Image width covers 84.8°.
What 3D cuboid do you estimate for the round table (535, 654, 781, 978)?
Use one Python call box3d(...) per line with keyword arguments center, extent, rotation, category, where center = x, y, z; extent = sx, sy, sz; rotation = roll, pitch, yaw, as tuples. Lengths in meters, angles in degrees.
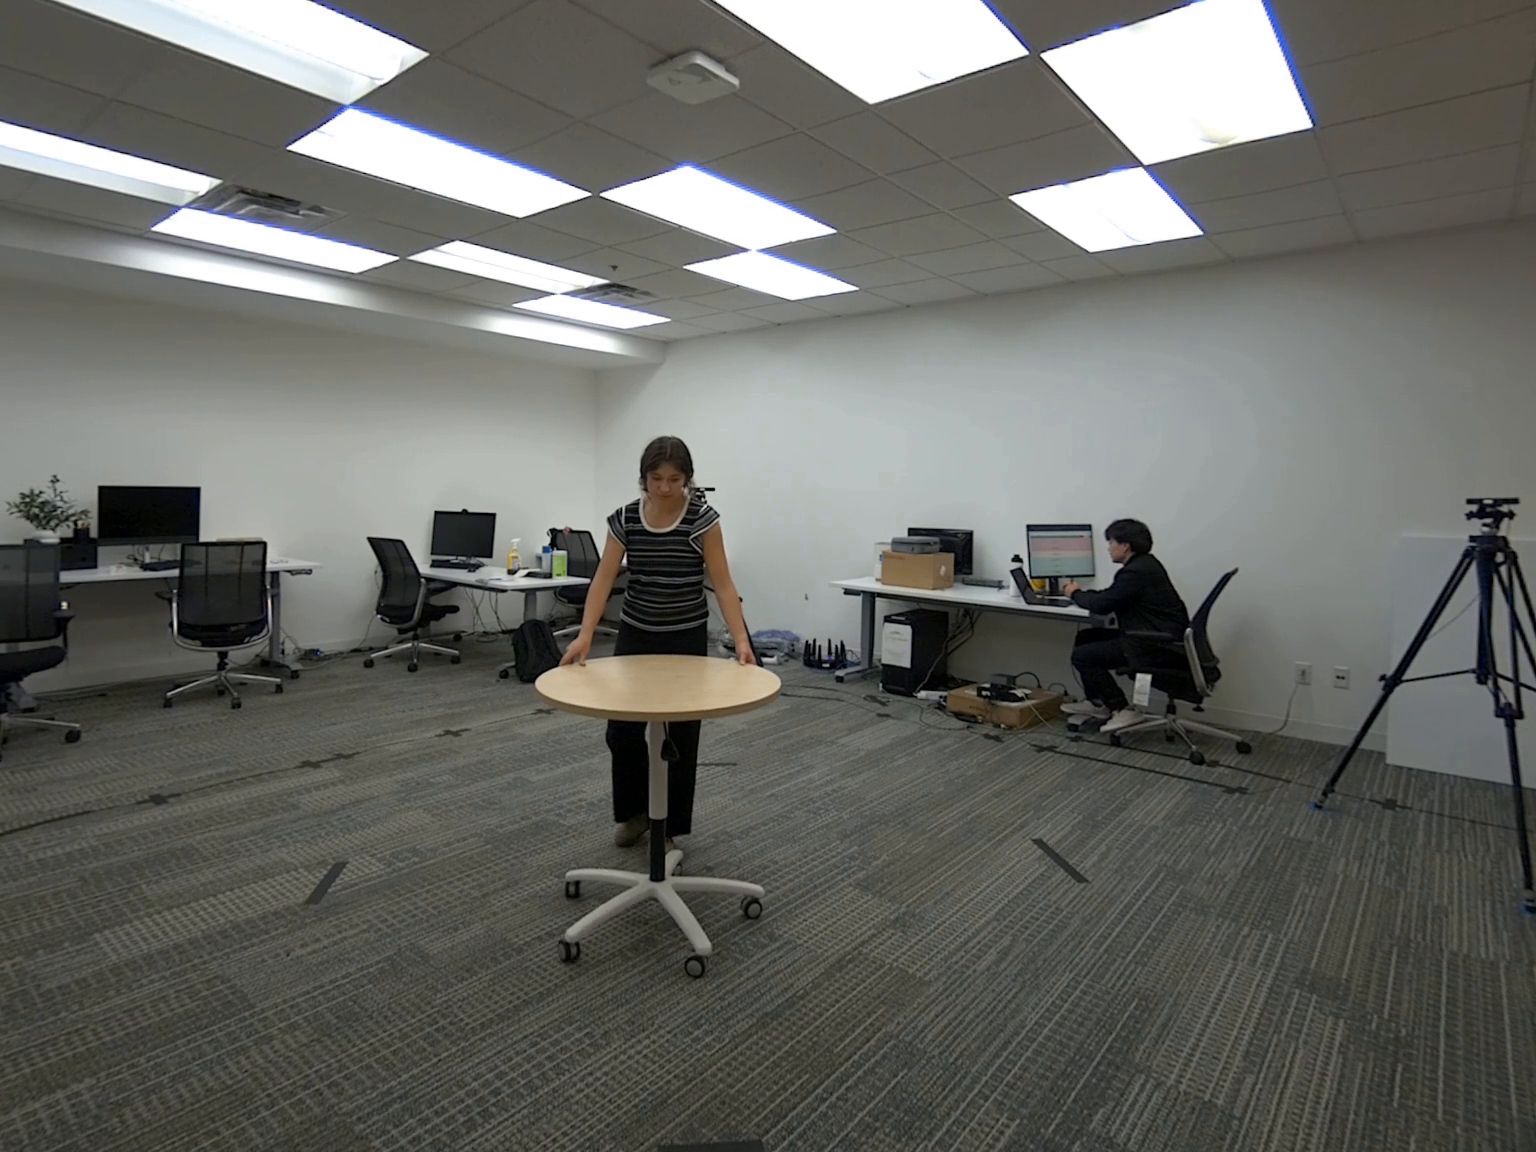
box3d(center=(-0.358, 0.709, 2.681), extent=(0.784, 0.784, 0.789), rotation=(0, 4, -2), category="round table")
